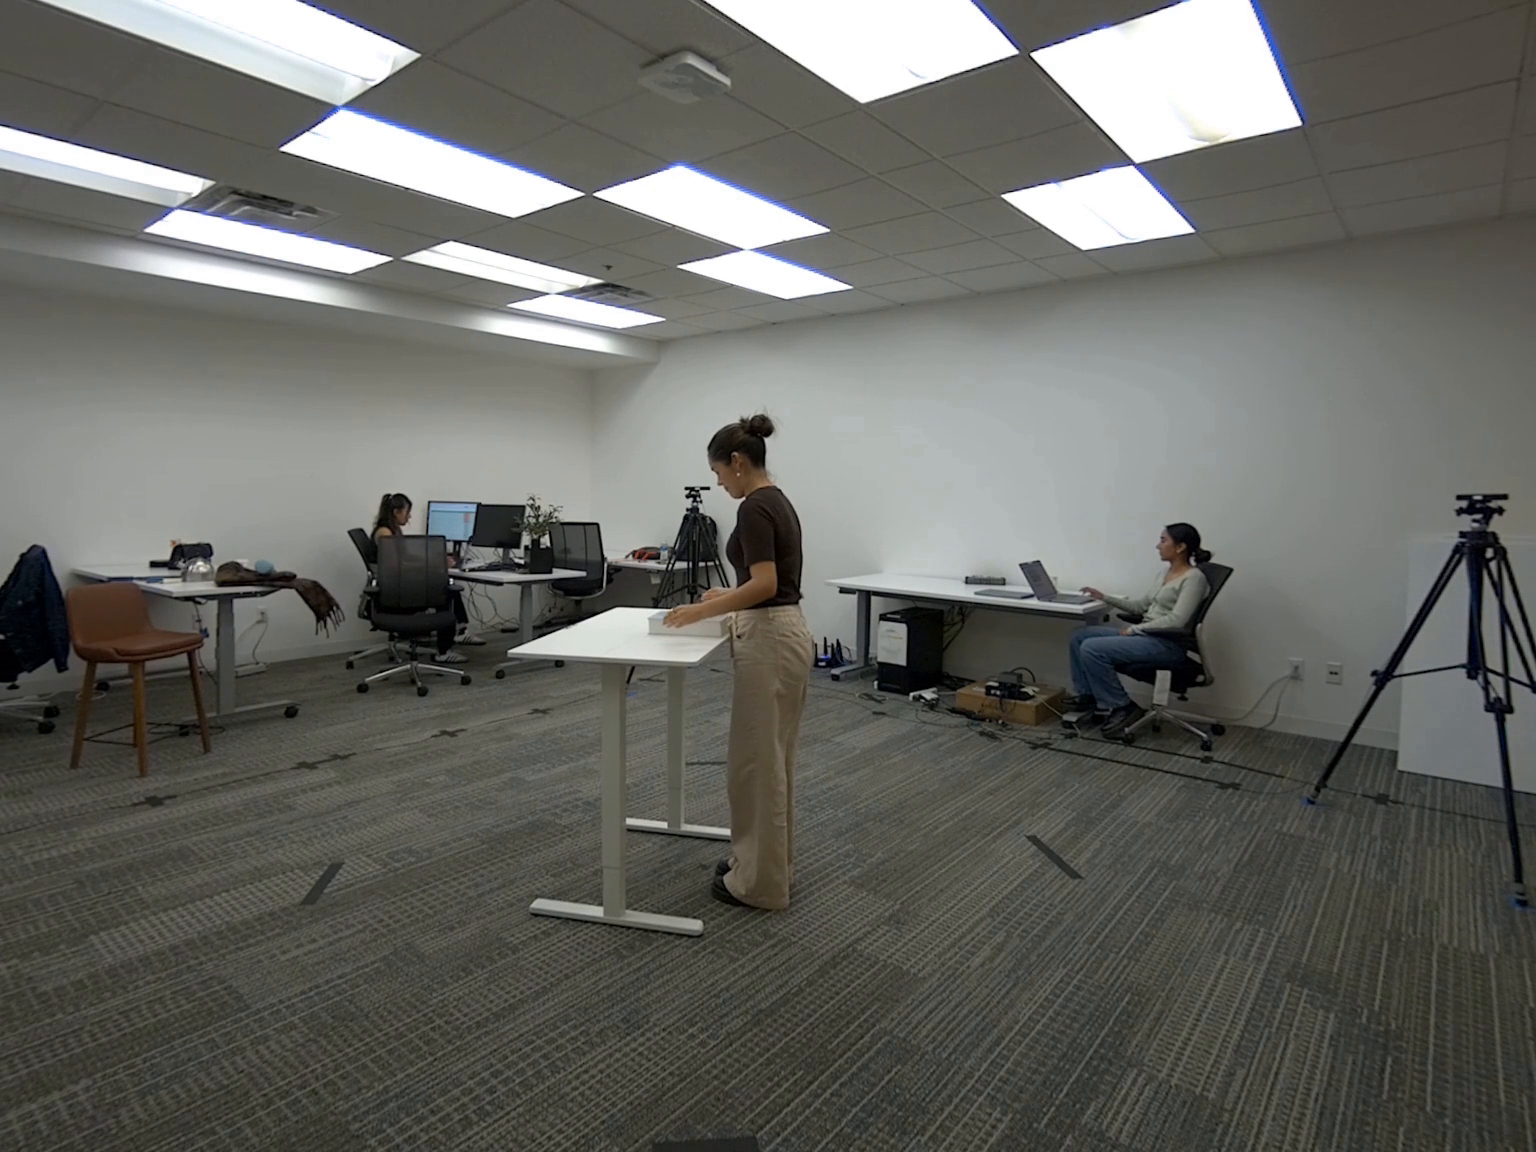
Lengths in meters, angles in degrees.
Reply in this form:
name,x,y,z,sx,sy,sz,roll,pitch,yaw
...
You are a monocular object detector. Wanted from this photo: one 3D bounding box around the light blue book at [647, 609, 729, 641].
name,x,y,z,sx,sy,sz,roll,pitch,yaw
light blue book,-0.286,0.167,2.993,0.264,0.059,0.190,2,6,10
